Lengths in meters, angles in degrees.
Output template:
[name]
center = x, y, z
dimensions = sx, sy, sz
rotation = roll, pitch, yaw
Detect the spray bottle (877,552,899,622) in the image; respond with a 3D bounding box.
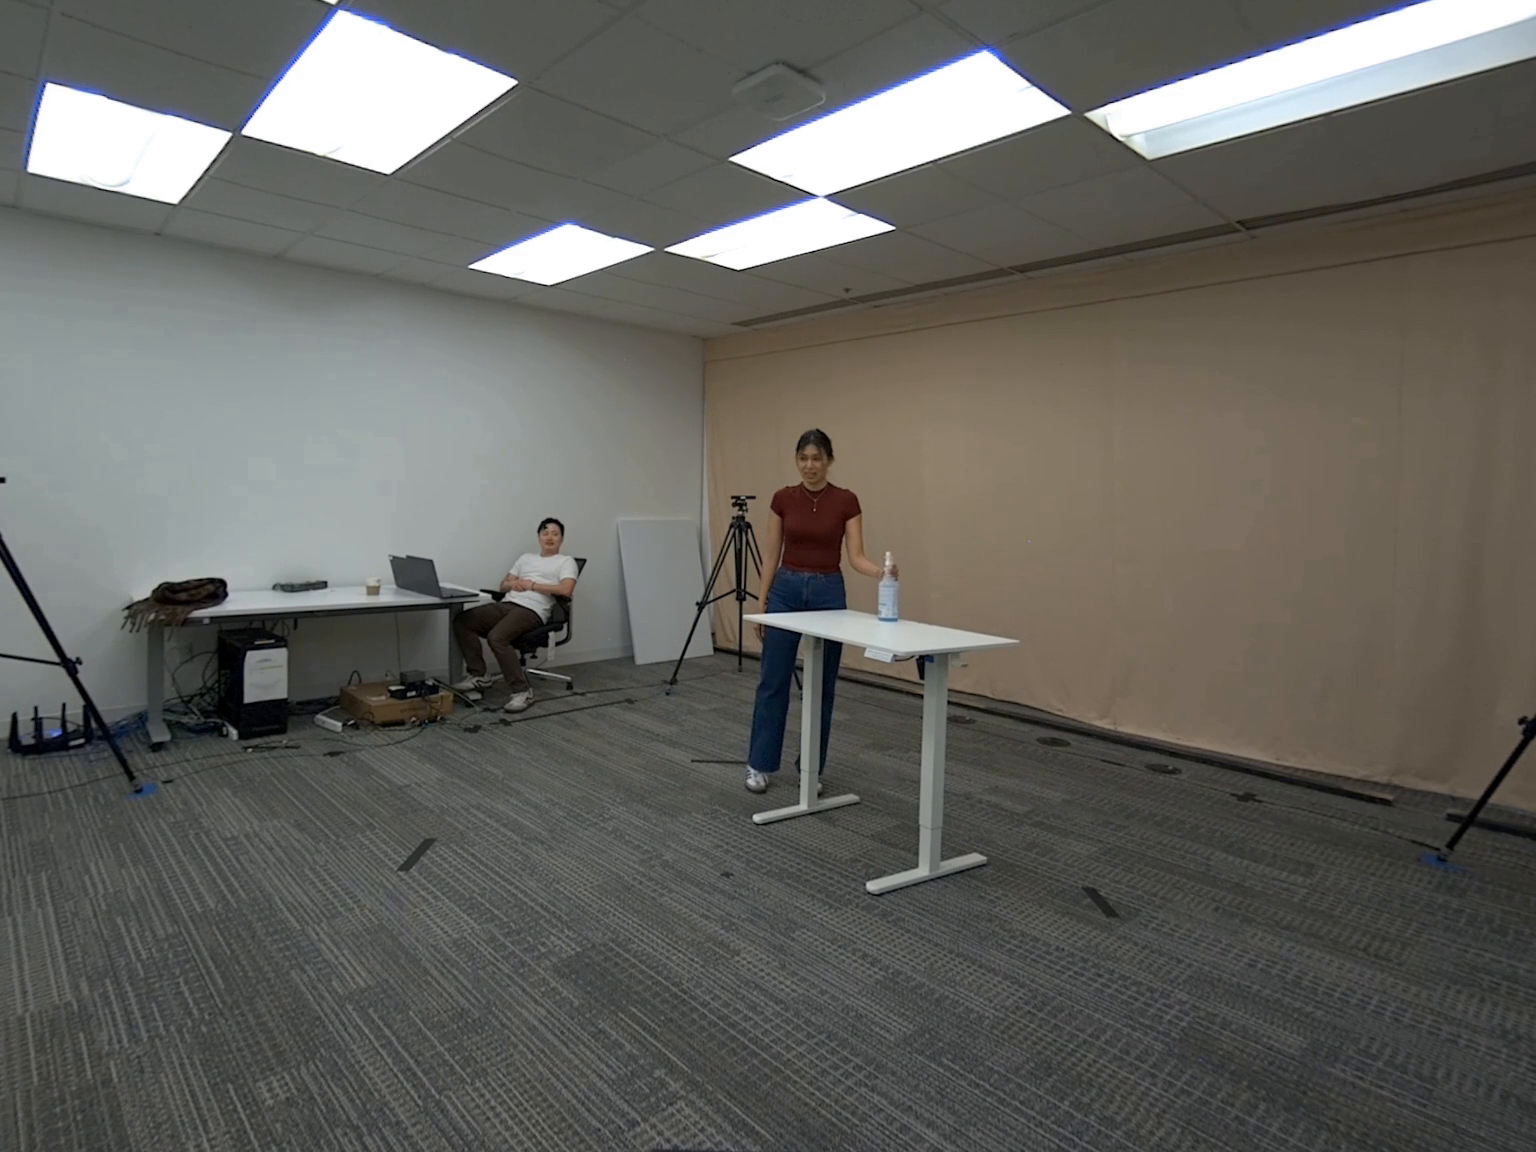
[spray bottle]
center = 0.519, 0.047, 3.637
dimensions = 0.089, 0.297, 0.088
rotation = 2, 4, 40
